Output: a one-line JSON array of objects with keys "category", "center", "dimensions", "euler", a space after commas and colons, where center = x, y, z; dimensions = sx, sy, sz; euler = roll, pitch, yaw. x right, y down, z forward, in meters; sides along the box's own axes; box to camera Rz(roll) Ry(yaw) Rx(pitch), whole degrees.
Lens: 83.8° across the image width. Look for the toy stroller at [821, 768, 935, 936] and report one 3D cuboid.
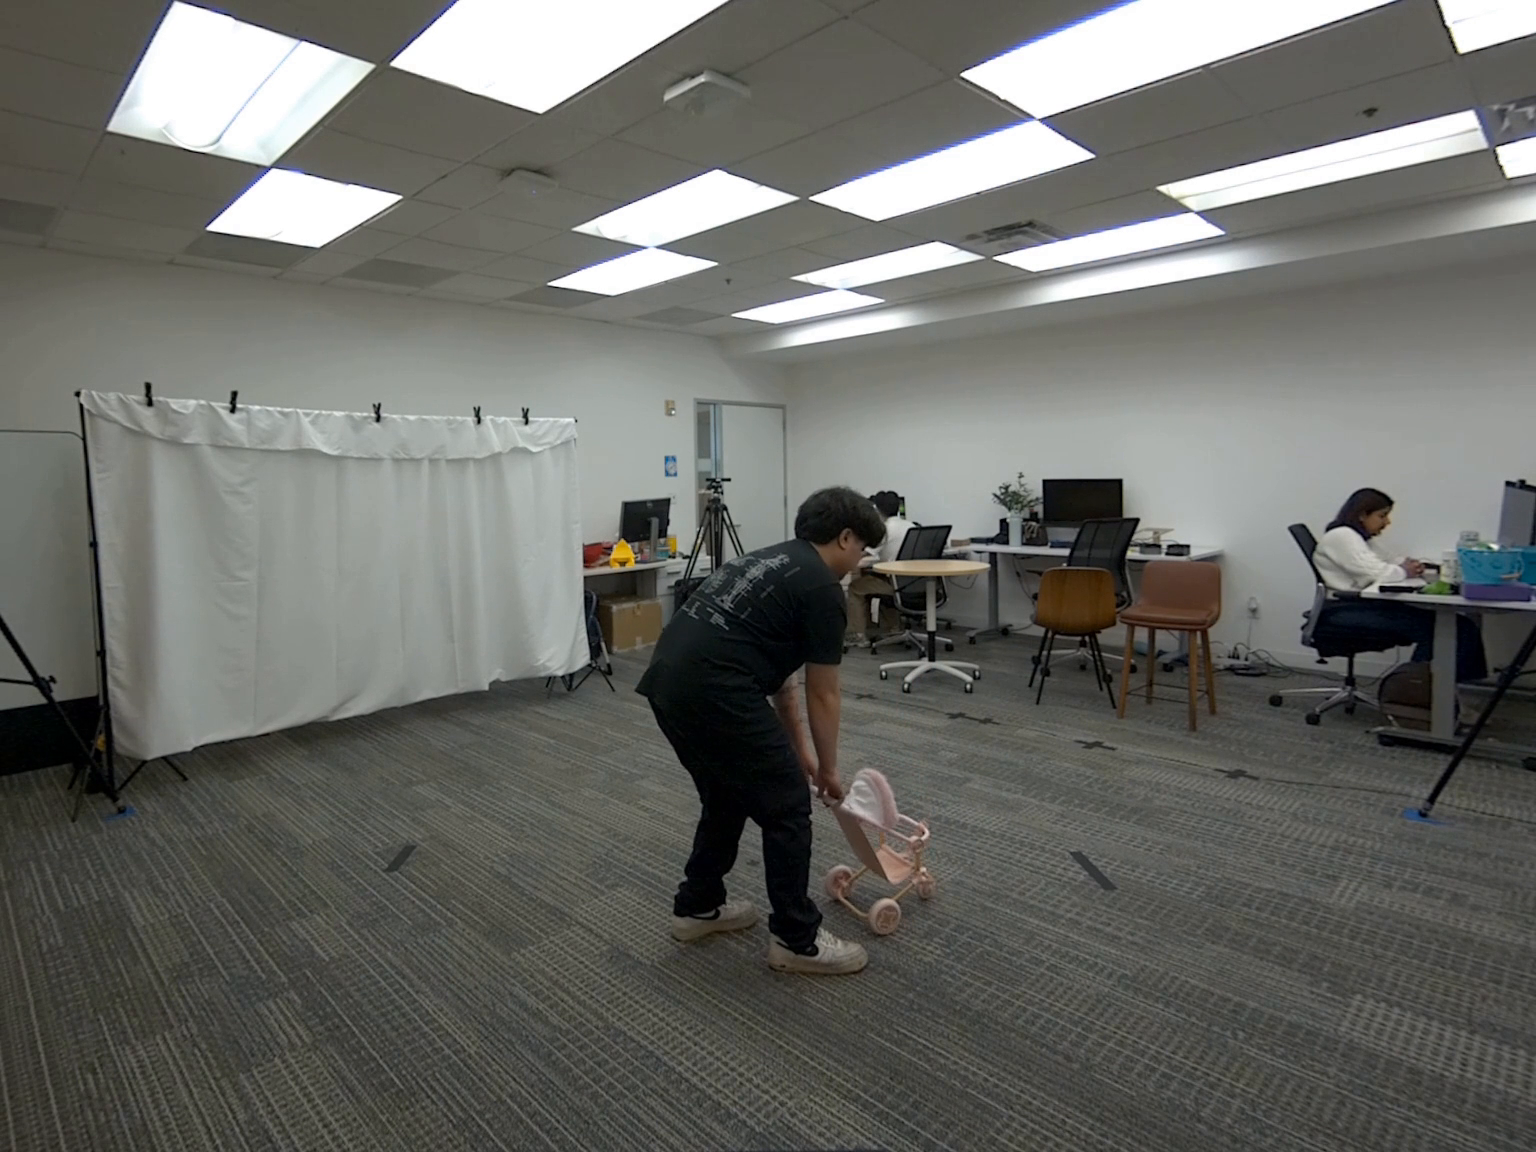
[{"category": "toy stroller", "center": [0.350, 0.850, 2.731], "dimensions": [0.337, 0.529, 0.288], "euler": [-19, 10, -20]}]
